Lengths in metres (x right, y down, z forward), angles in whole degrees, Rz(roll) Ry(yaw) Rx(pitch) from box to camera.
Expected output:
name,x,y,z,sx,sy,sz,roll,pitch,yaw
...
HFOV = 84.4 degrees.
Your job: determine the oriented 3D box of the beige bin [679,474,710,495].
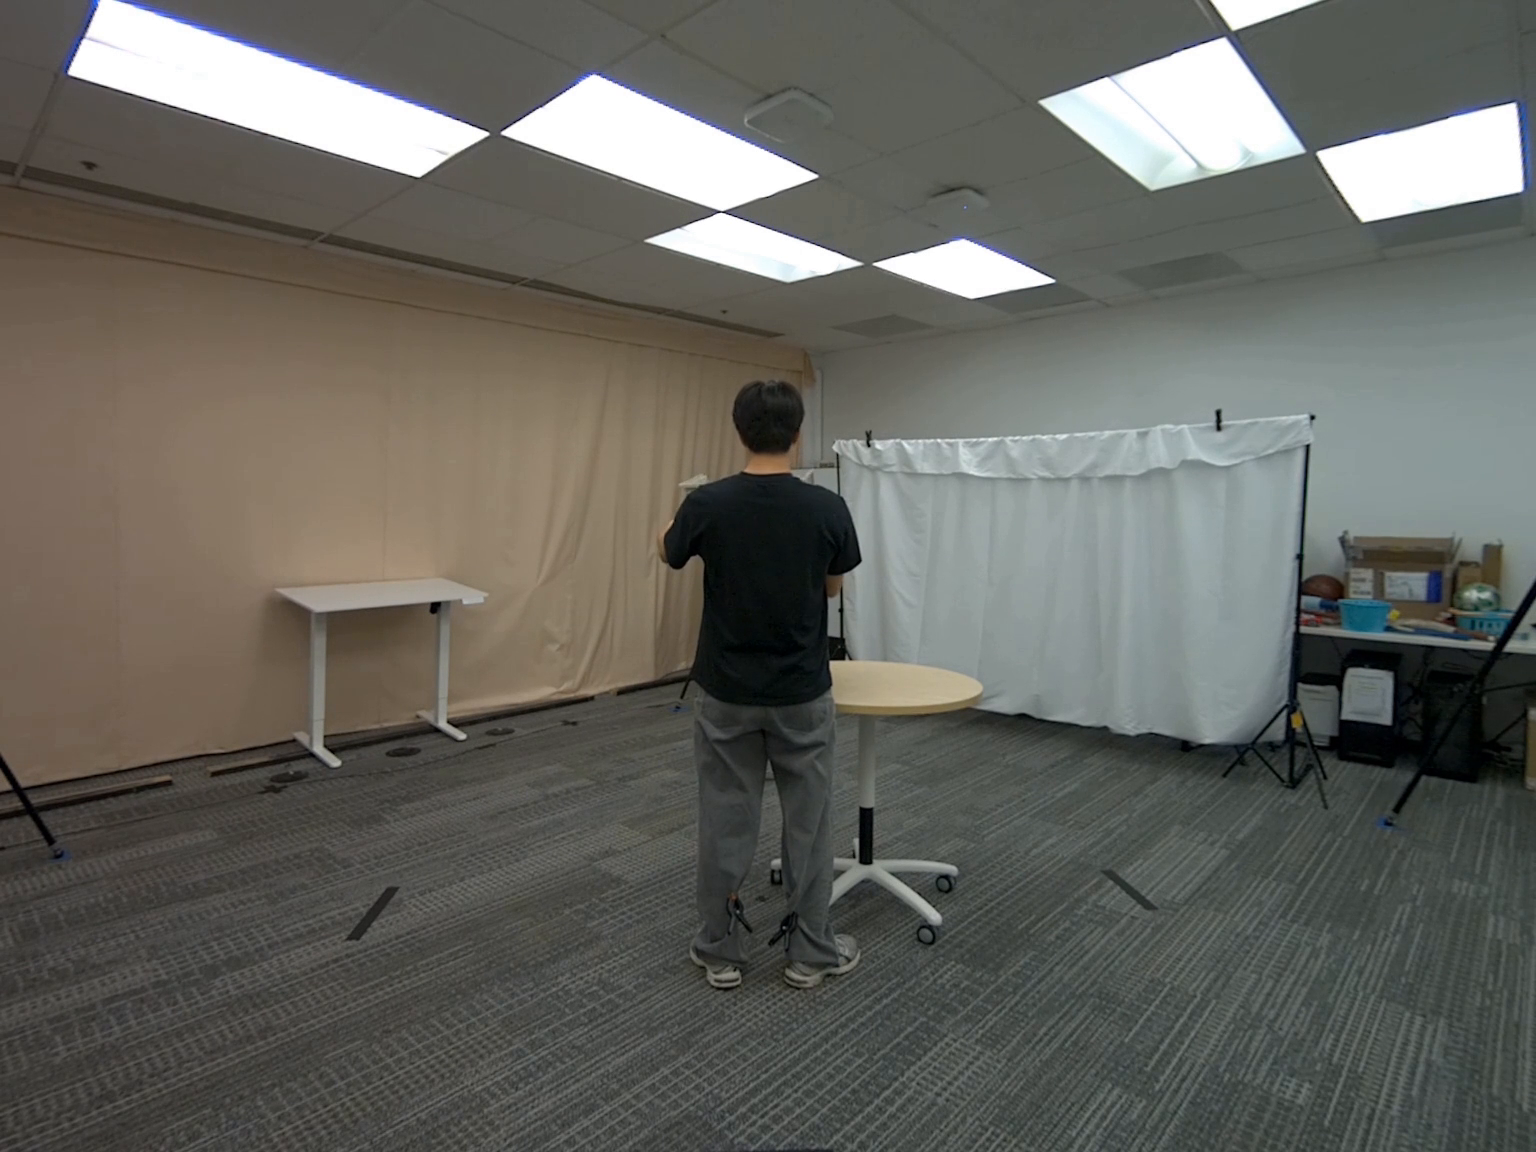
name,x,y,z,sx,sy,sz,roll,pitch,yaw
beige bin,-0.050,-0.264,2.982,0.428,0.187,0.376,-1,14,11
